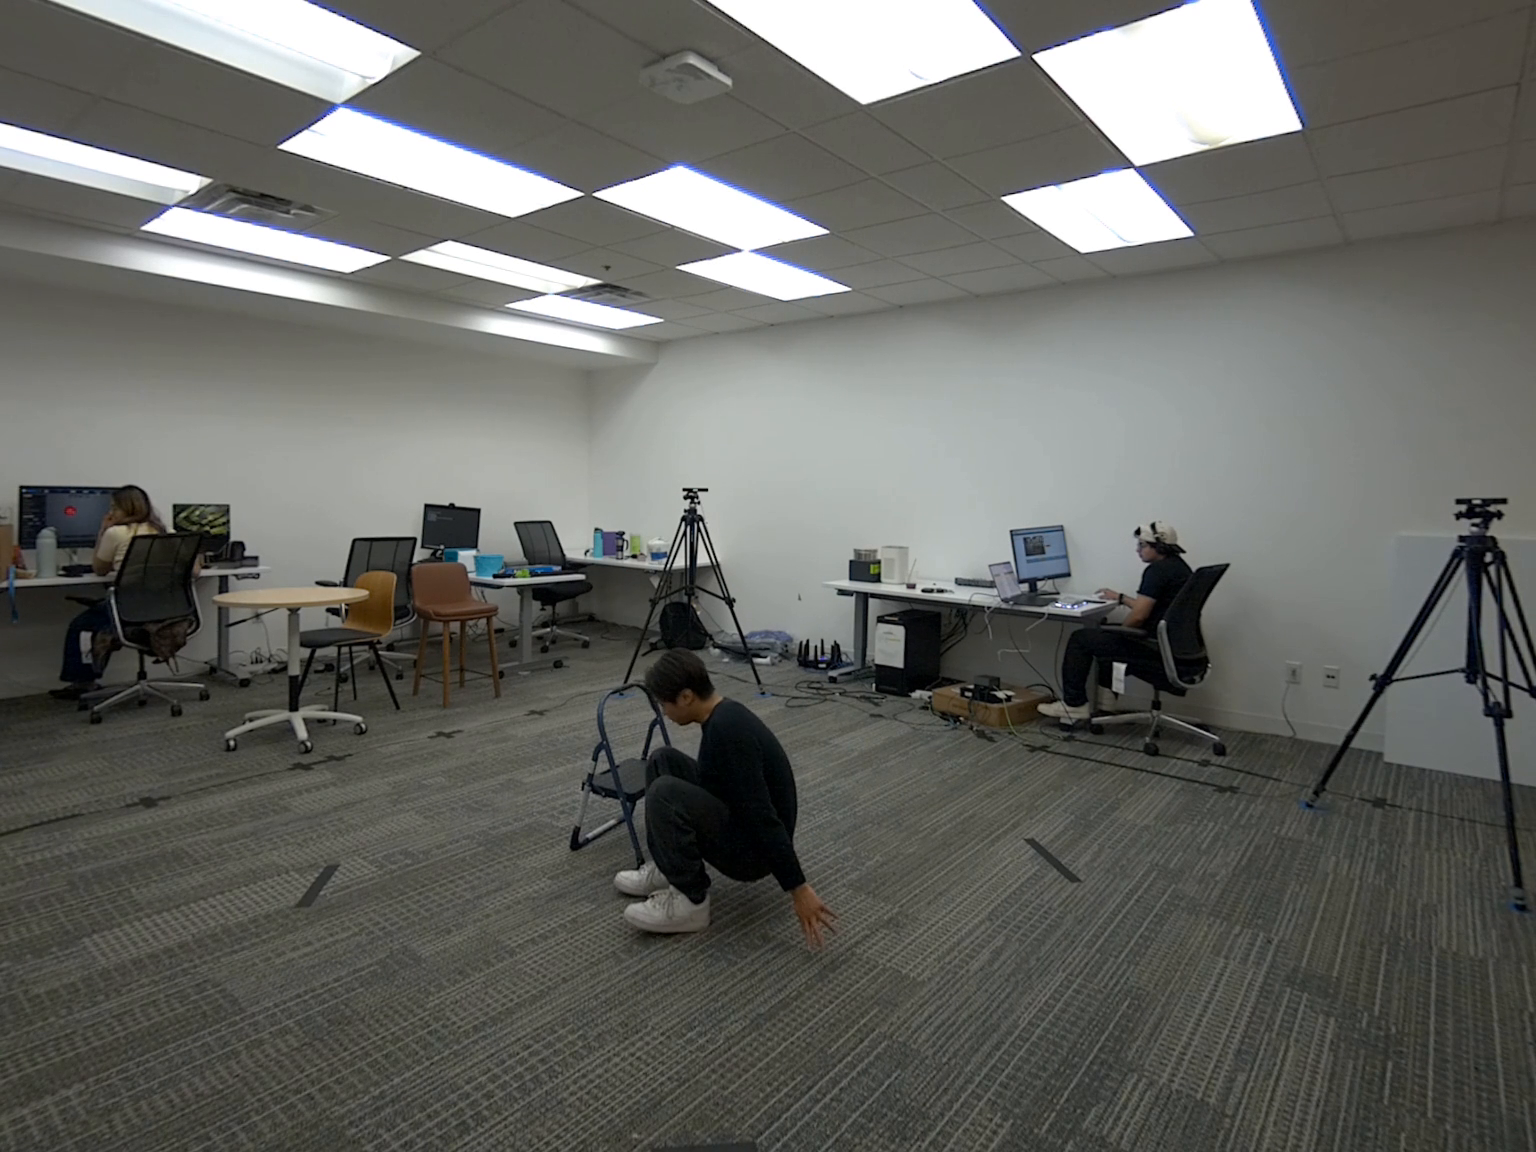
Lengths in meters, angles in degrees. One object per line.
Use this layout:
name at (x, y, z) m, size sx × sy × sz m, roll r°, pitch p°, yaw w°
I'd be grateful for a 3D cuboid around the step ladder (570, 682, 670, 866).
step ladder at (-0.526, 0.737, 3.344) m, size 0.358 × 0.604 × 0.421 m, roll 3°, pitch 4°, yaw 25°
